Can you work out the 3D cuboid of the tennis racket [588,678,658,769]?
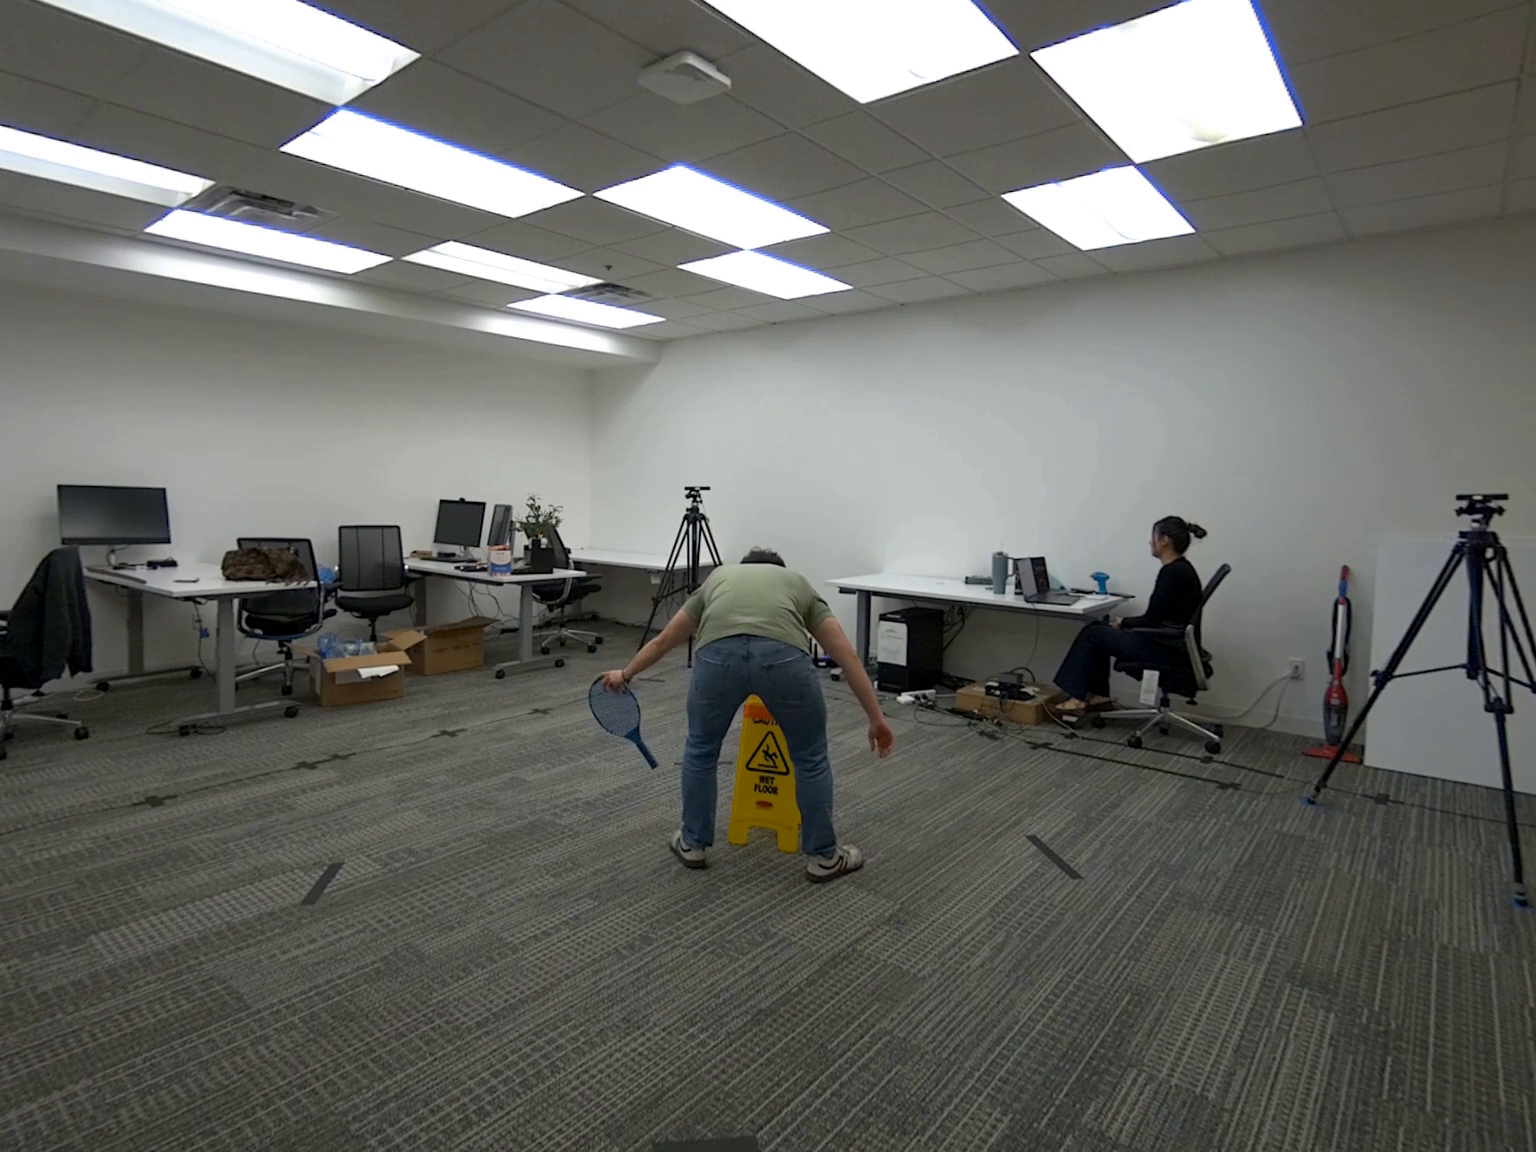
[{"bbox_3d":[-0.604,0.608,3.511,0.215,0.437,0.031,-37,-7,17],"label":"tennis racket"}]
